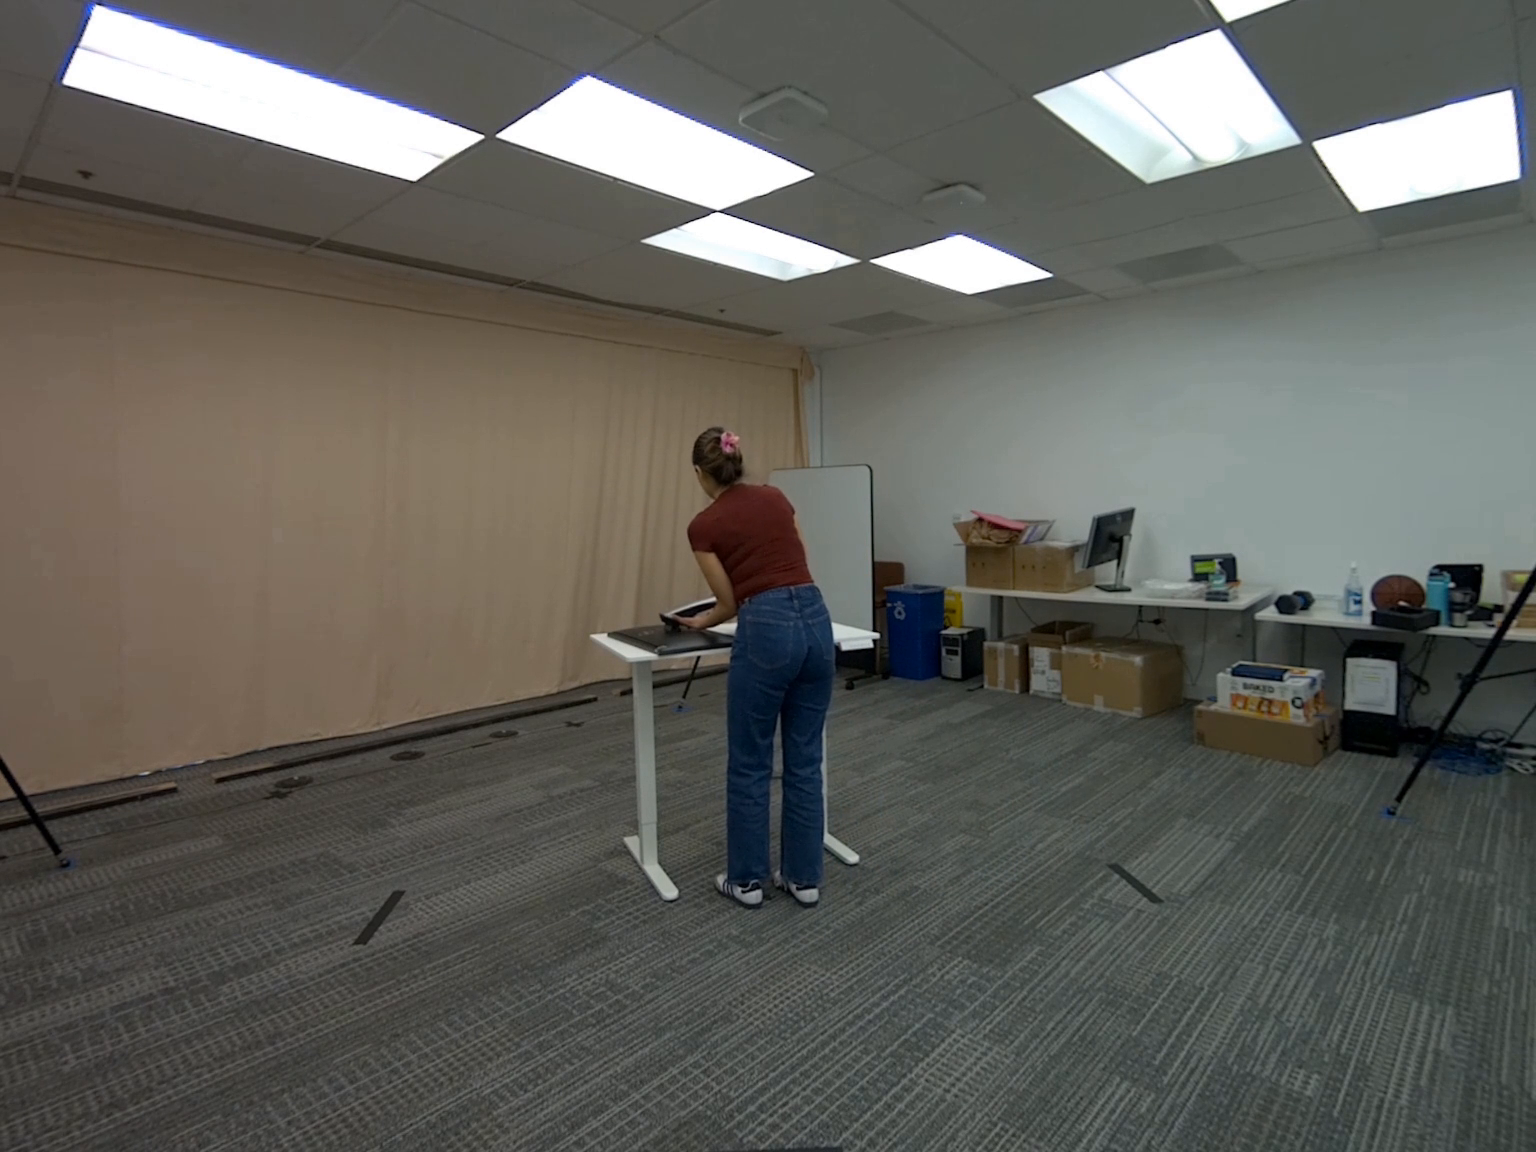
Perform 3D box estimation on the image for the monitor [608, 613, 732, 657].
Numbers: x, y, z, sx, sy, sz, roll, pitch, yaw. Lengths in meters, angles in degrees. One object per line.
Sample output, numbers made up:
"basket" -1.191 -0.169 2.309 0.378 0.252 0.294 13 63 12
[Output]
"monitor" -0.299 0.180 3.245 0.513 0.185 0.554 -22 13 -25
